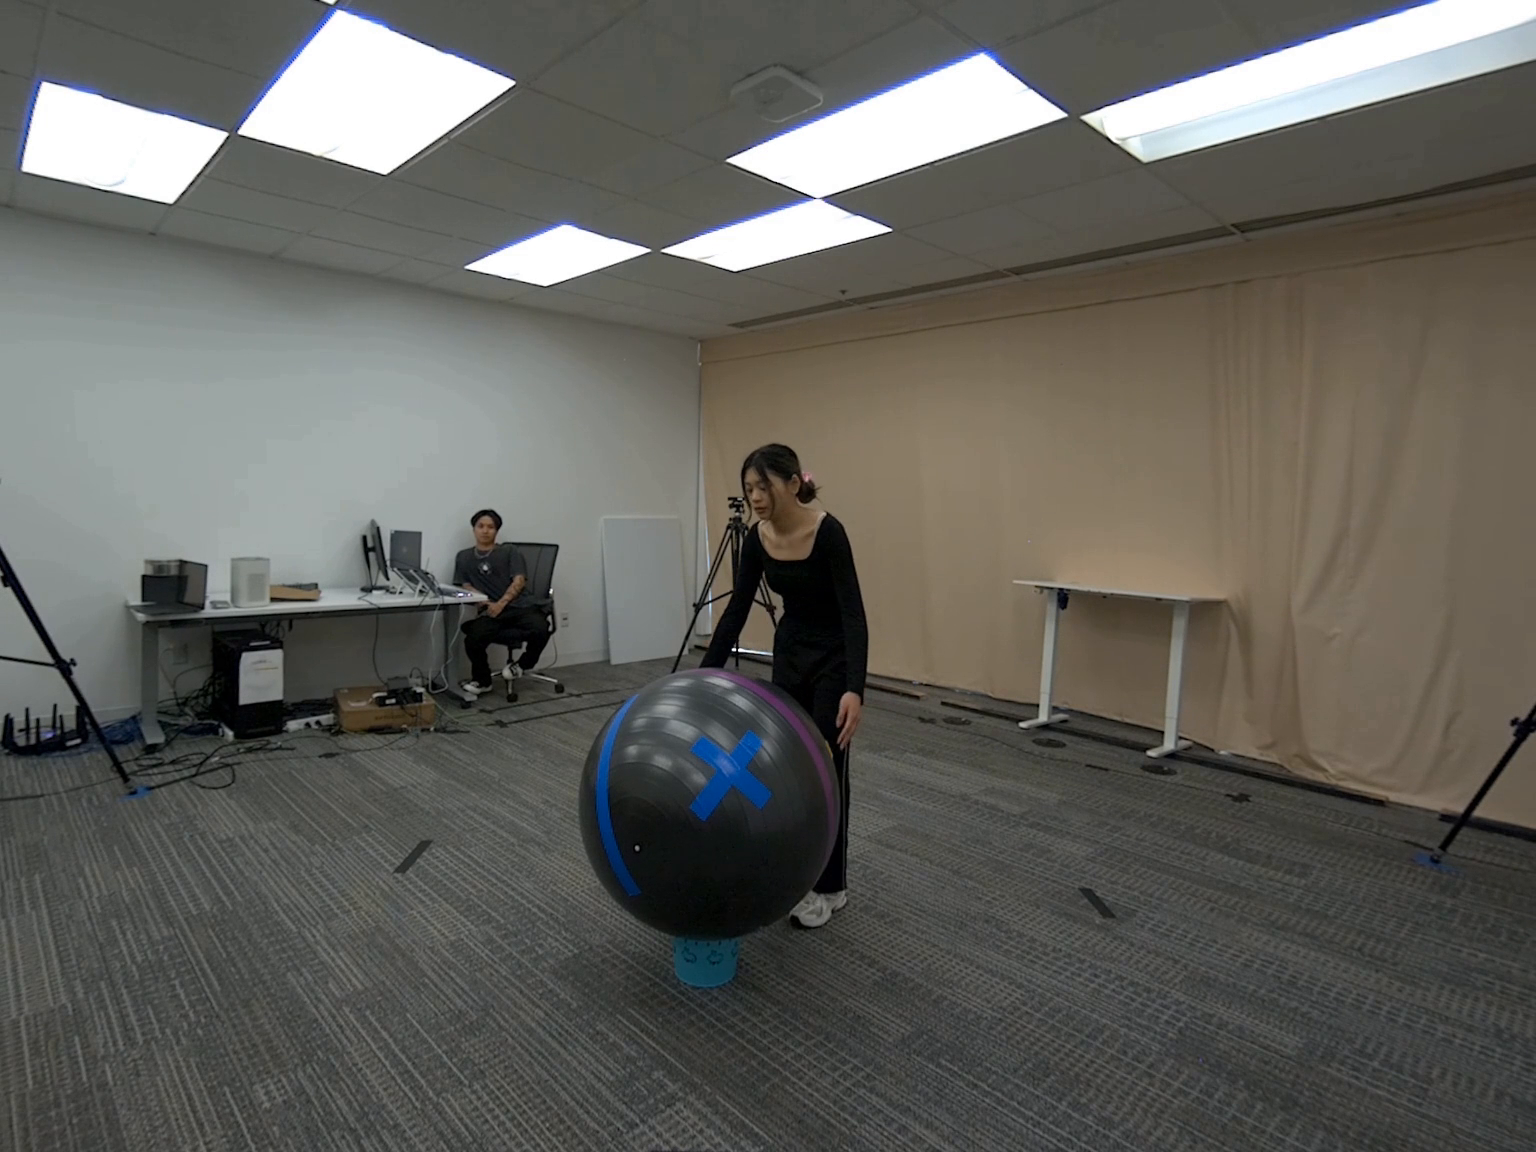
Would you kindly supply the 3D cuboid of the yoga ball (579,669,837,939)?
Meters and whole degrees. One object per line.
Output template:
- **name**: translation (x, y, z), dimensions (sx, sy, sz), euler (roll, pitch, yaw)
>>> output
- **yoga ball**: translation (-0.177, 0.659, 2.457), dimensions (0.757, 0.756, 0.761), euler (1, 4, -1)
